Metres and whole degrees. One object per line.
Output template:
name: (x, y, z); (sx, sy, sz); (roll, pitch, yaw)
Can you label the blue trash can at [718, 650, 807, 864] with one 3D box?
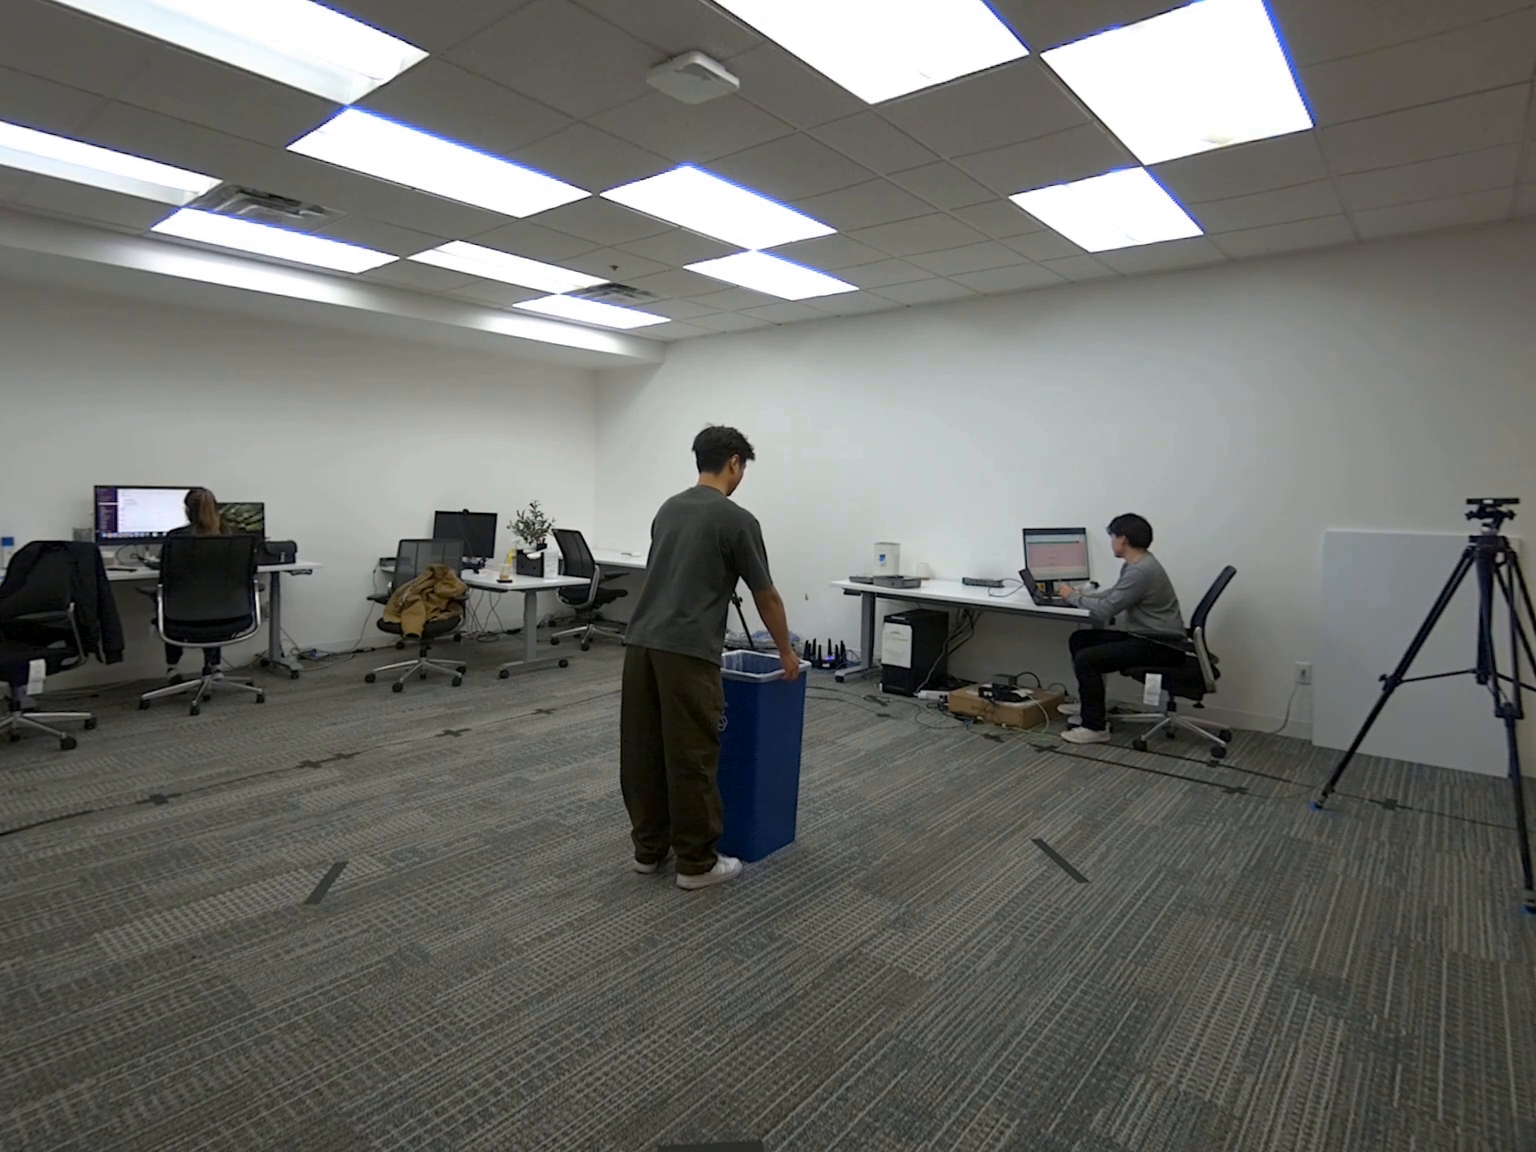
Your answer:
blue trash can: (-0.090, 0.686, 3.350); (0.390, 0.711, 0.363); (5, 6, 35)
